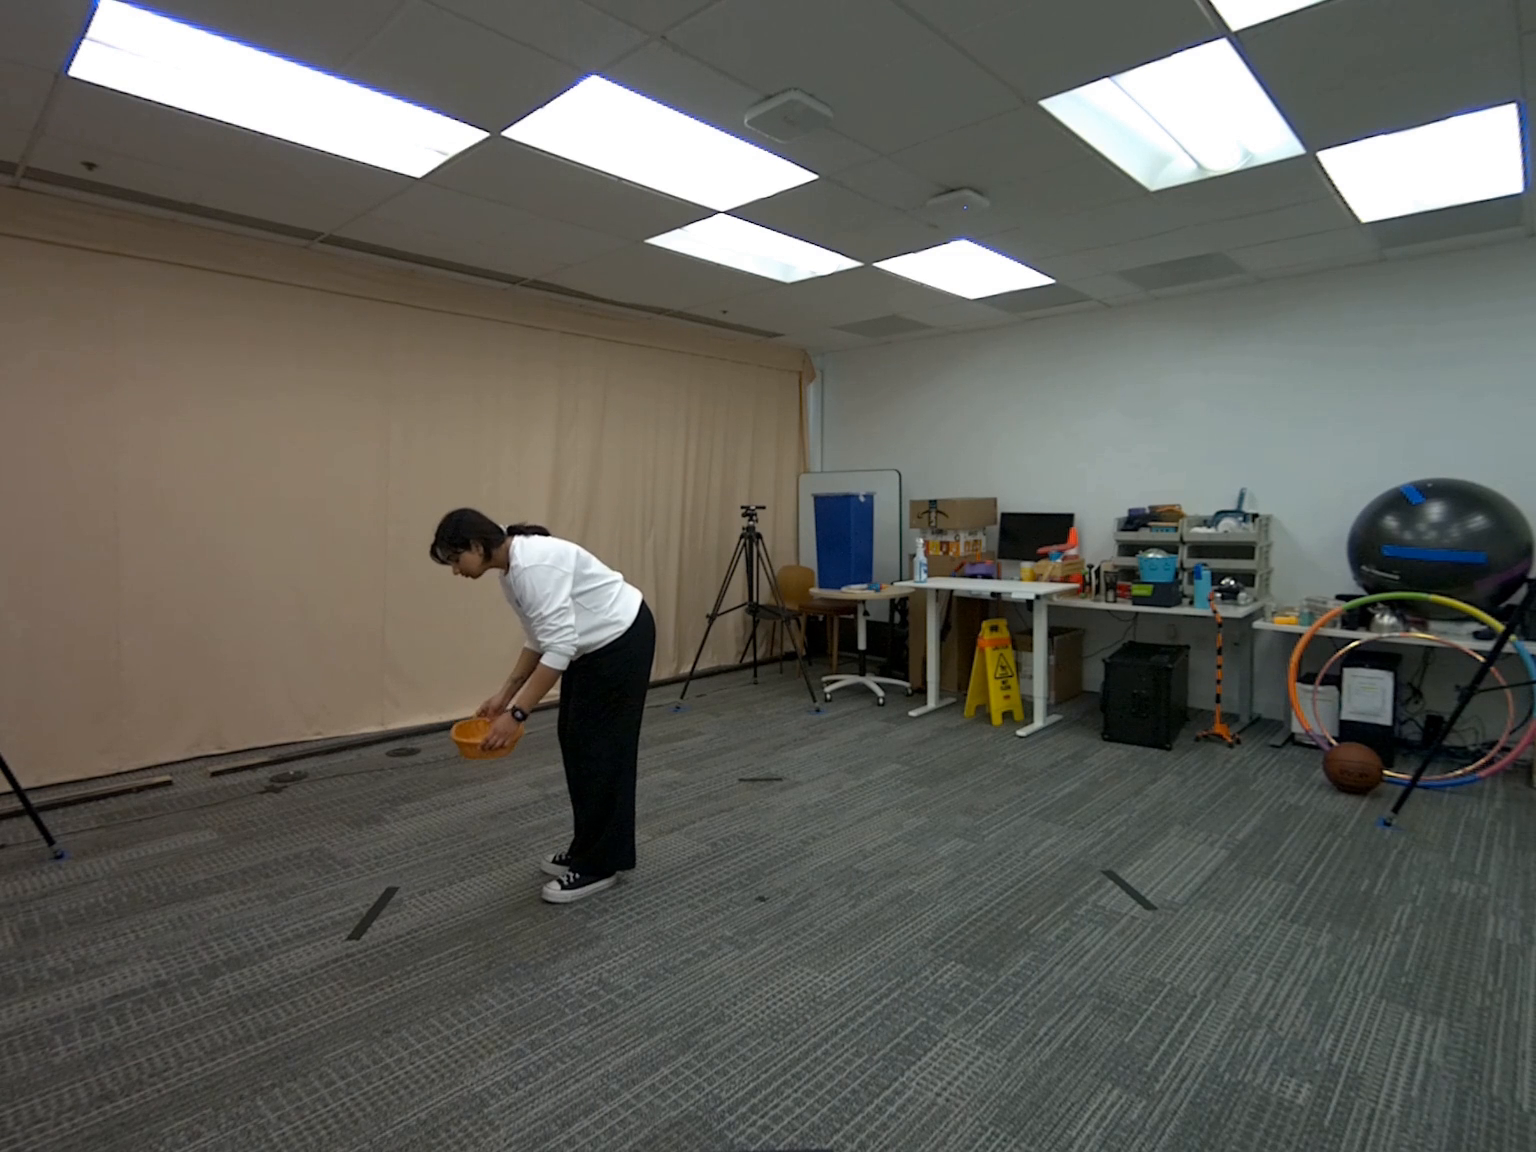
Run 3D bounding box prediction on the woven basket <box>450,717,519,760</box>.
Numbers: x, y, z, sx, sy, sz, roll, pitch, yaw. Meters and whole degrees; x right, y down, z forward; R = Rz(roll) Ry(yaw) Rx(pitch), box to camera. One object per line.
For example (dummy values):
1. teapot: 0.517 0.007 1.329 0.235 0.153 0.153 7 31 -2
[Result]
1. woven basket: -0.991 0.577 2.984 0.248 0.073 0.357 -1 3 -17
